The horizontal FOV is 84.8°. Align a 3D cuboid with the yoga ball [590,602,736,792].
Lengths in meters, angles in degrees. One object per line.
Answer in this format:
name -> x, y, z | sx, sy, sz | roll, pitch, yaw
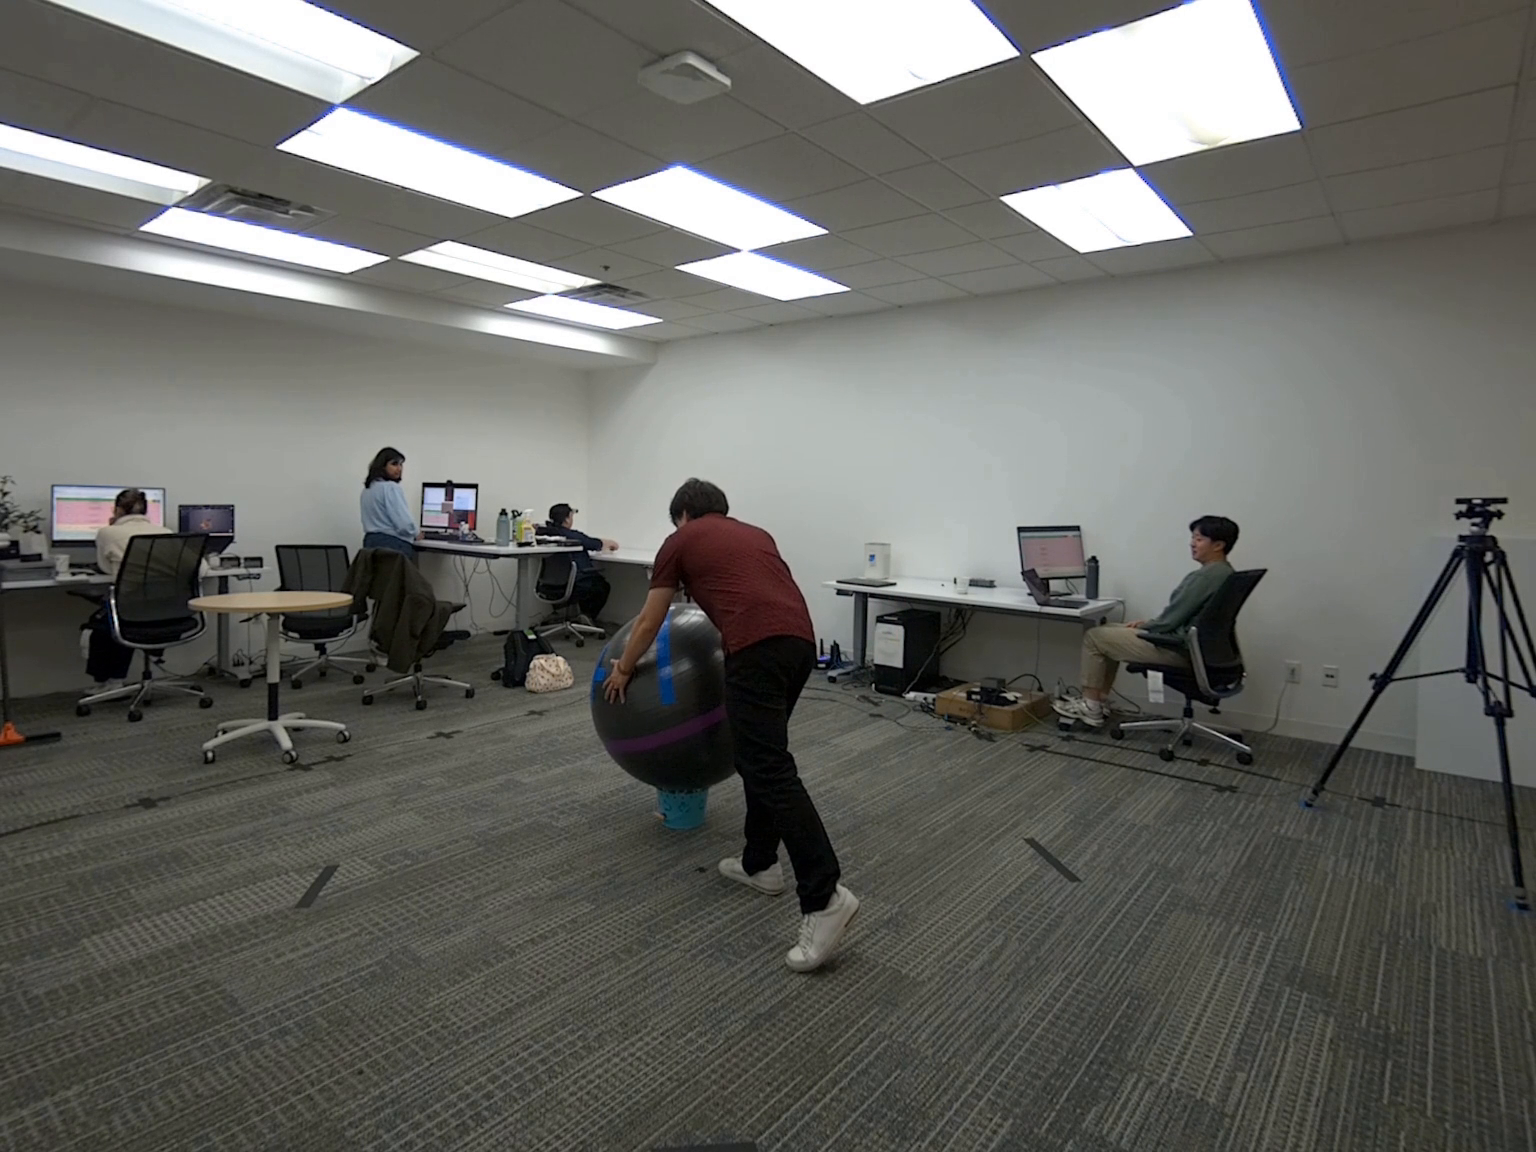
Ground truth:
yoga ball -> -0.372, 0.493, 3.532 | 0.757, 0.755, 0.762 | 1, 4, -2
